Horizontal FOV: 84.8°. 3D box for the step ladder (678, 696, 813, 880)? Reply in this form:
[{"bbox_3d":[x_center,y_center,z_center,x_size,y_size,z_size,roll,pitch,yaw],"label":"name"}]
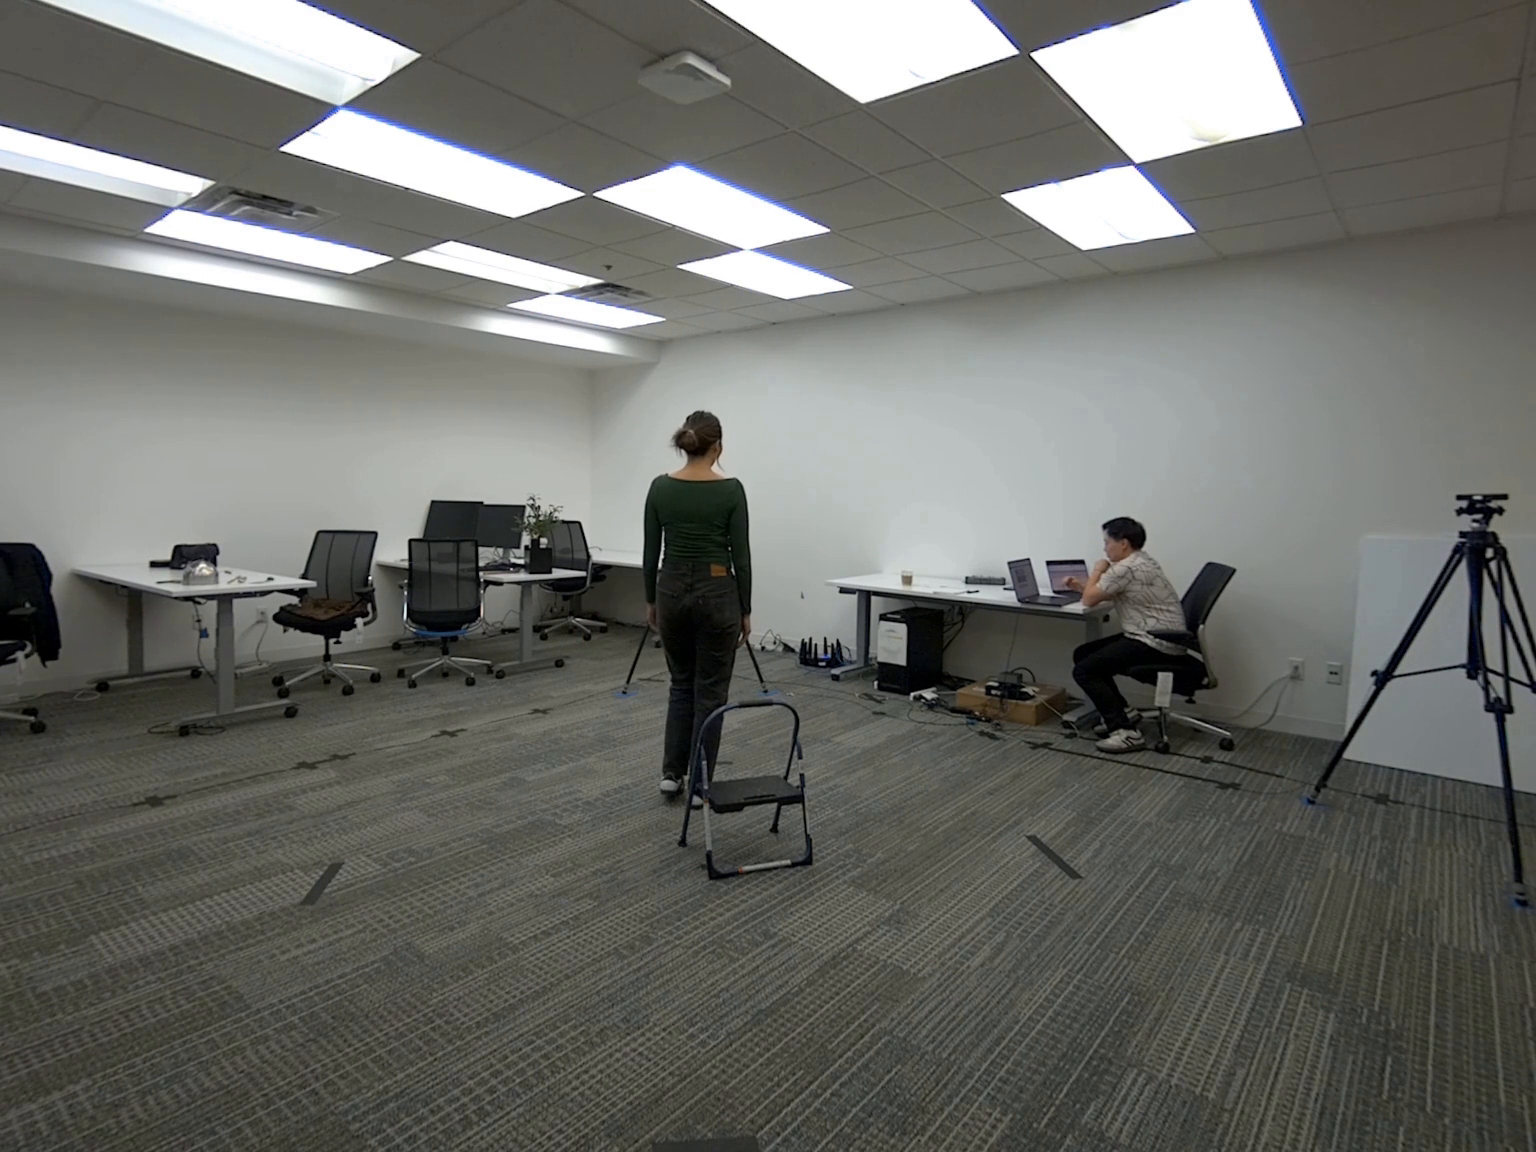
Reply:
[{"bbox_3d":[-0.095,0.750,3.228,0.421,0.604,0.358,-1,3,-23],"label":"step ladder"}]
